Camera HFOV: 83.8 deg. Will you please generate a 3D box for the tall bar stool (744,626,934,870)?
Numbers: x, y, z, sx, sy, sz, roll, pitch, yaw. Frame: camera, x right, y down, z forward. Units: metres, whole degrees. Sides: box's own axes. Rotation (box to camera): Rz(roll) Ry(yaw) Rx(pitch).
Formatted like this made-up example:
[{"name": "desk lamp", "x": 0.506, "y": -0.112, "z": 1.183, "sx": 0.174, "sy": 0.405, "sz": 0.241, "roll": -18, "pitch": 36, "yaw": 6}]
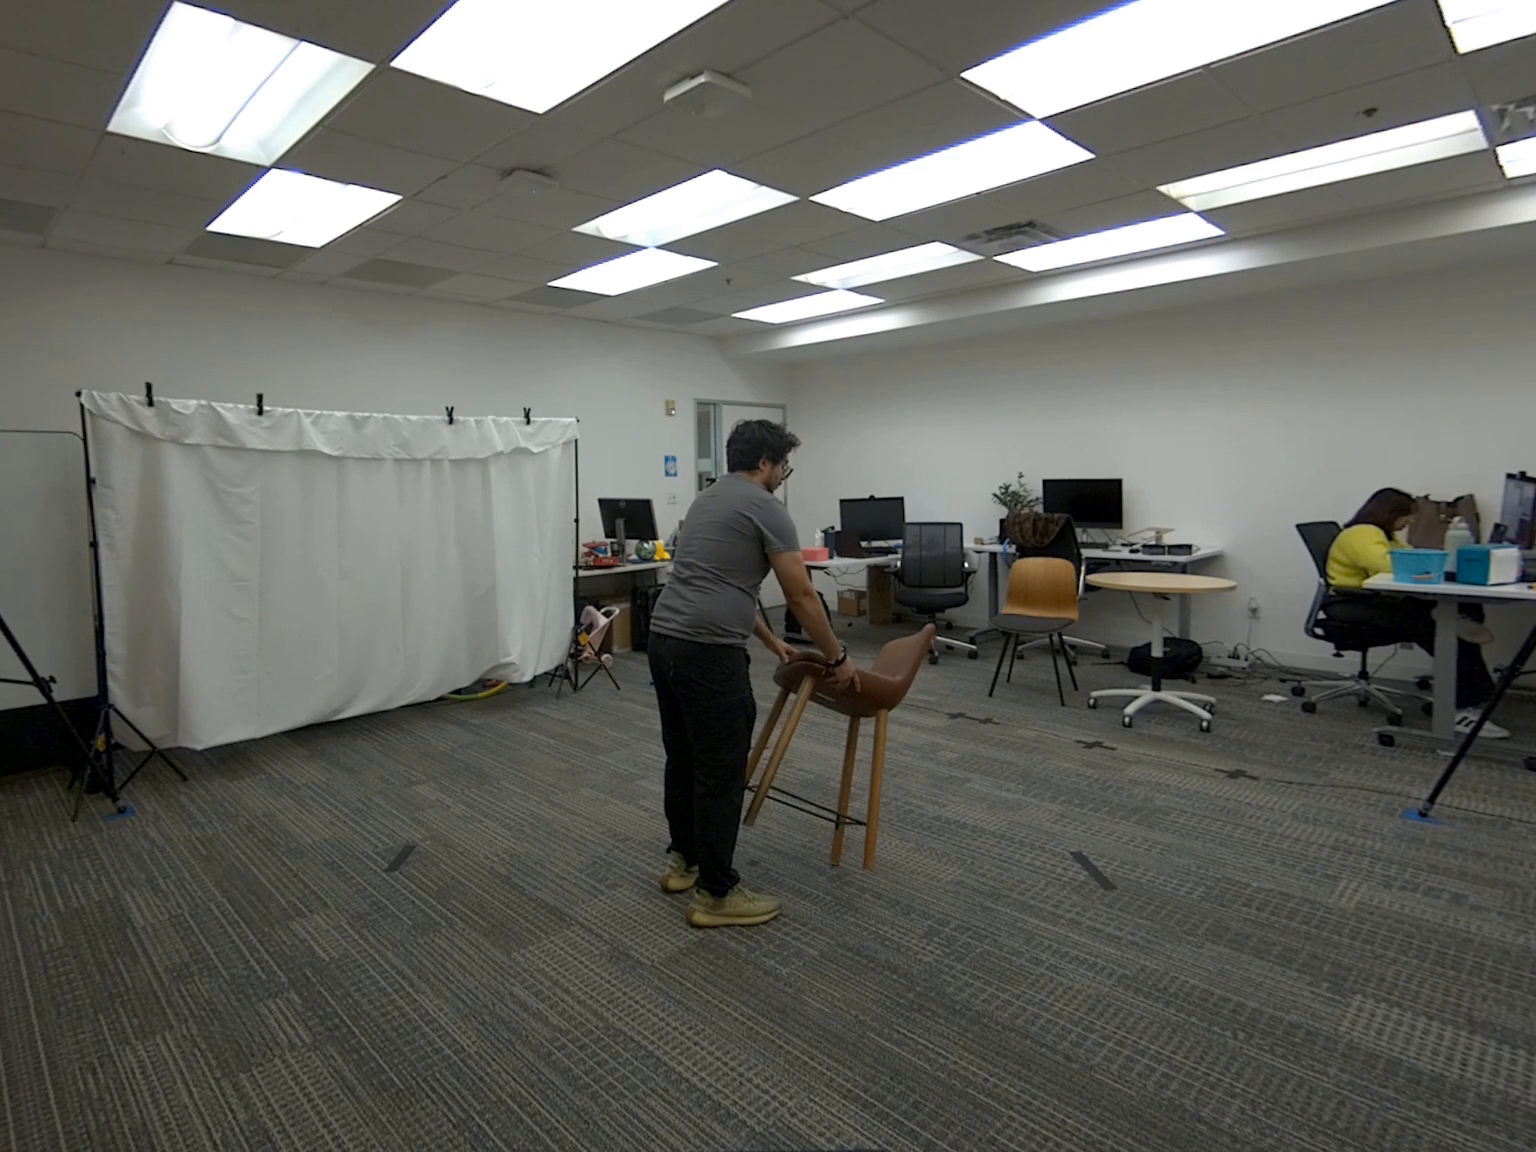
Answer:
[{"name": "tall bar stool", "x": 0.225, "y": 0.530, "z": 3.049, "sx": 0.465, "sy": 0.899, "sz": 0.454, "roll": 22, "pitch": -20, "yaw": -5}]
